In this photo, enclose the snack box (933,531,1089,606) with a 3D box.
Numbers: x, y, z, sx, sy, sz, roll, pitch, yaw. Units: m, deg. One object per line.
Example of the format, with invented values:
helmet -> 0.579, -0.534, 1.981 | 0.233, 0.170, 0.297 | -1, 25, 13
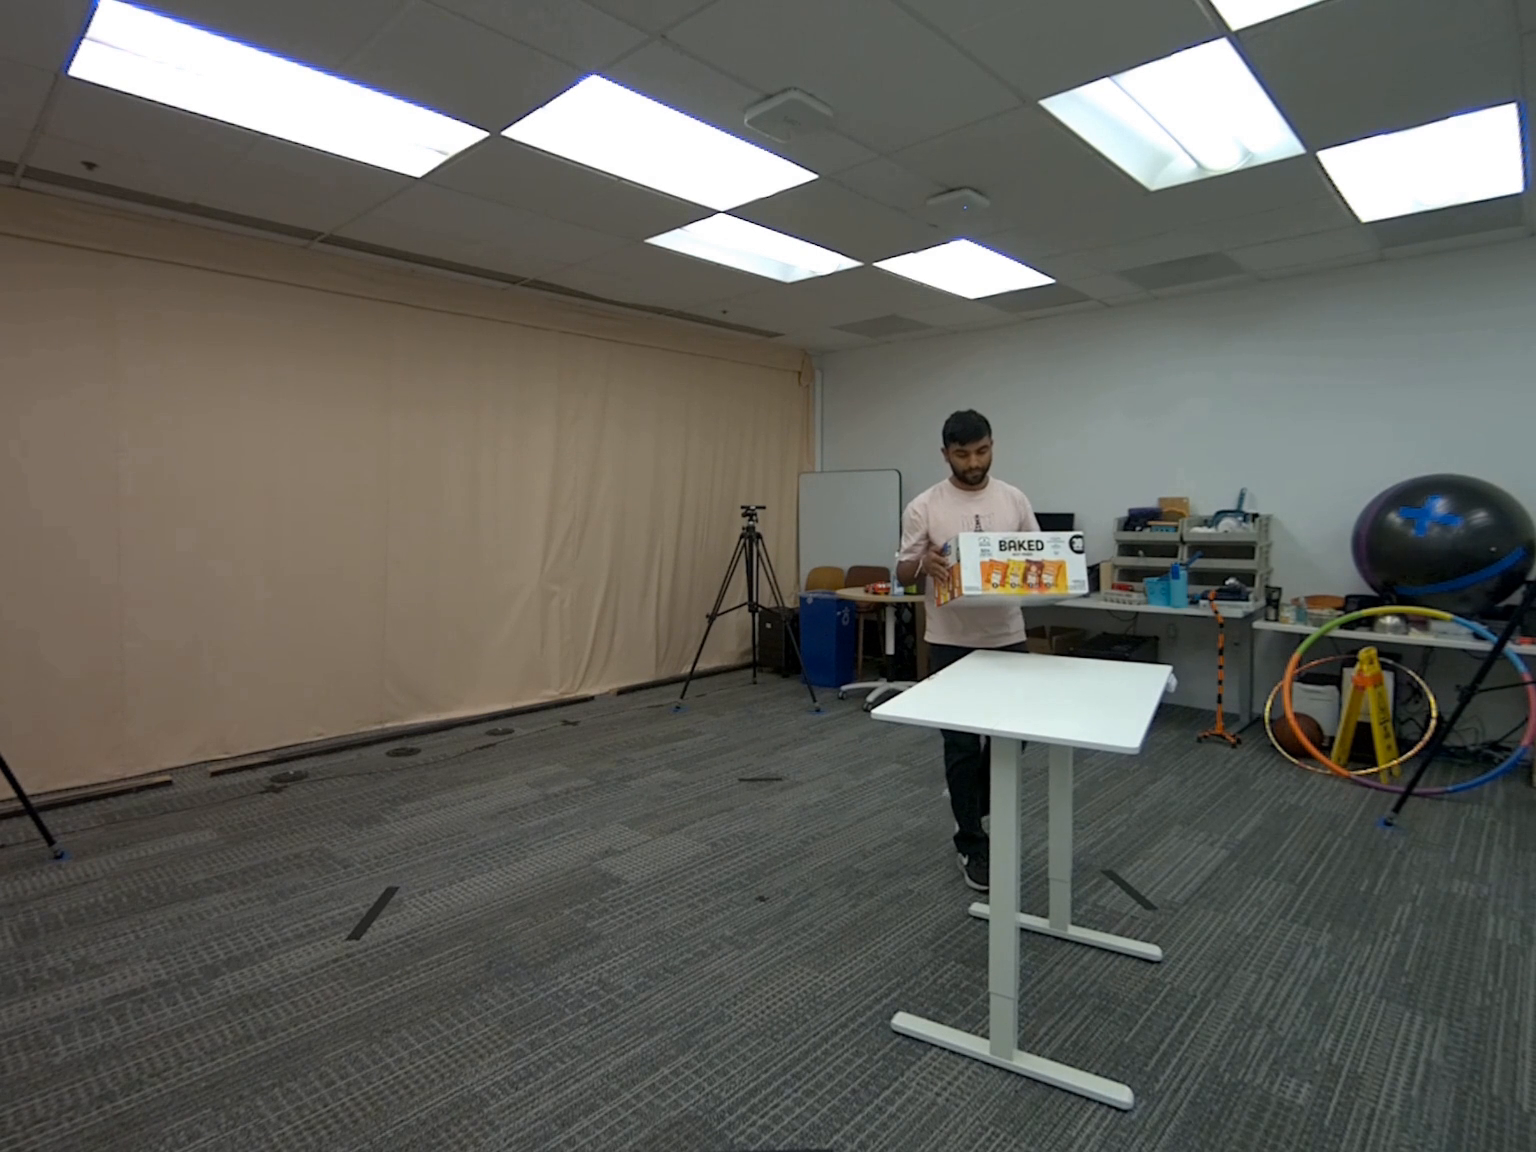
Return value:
snack box -> 0.805, -0.014, 2.860 | 0.405, 0.207, 0.338 | 0, -9, -2
